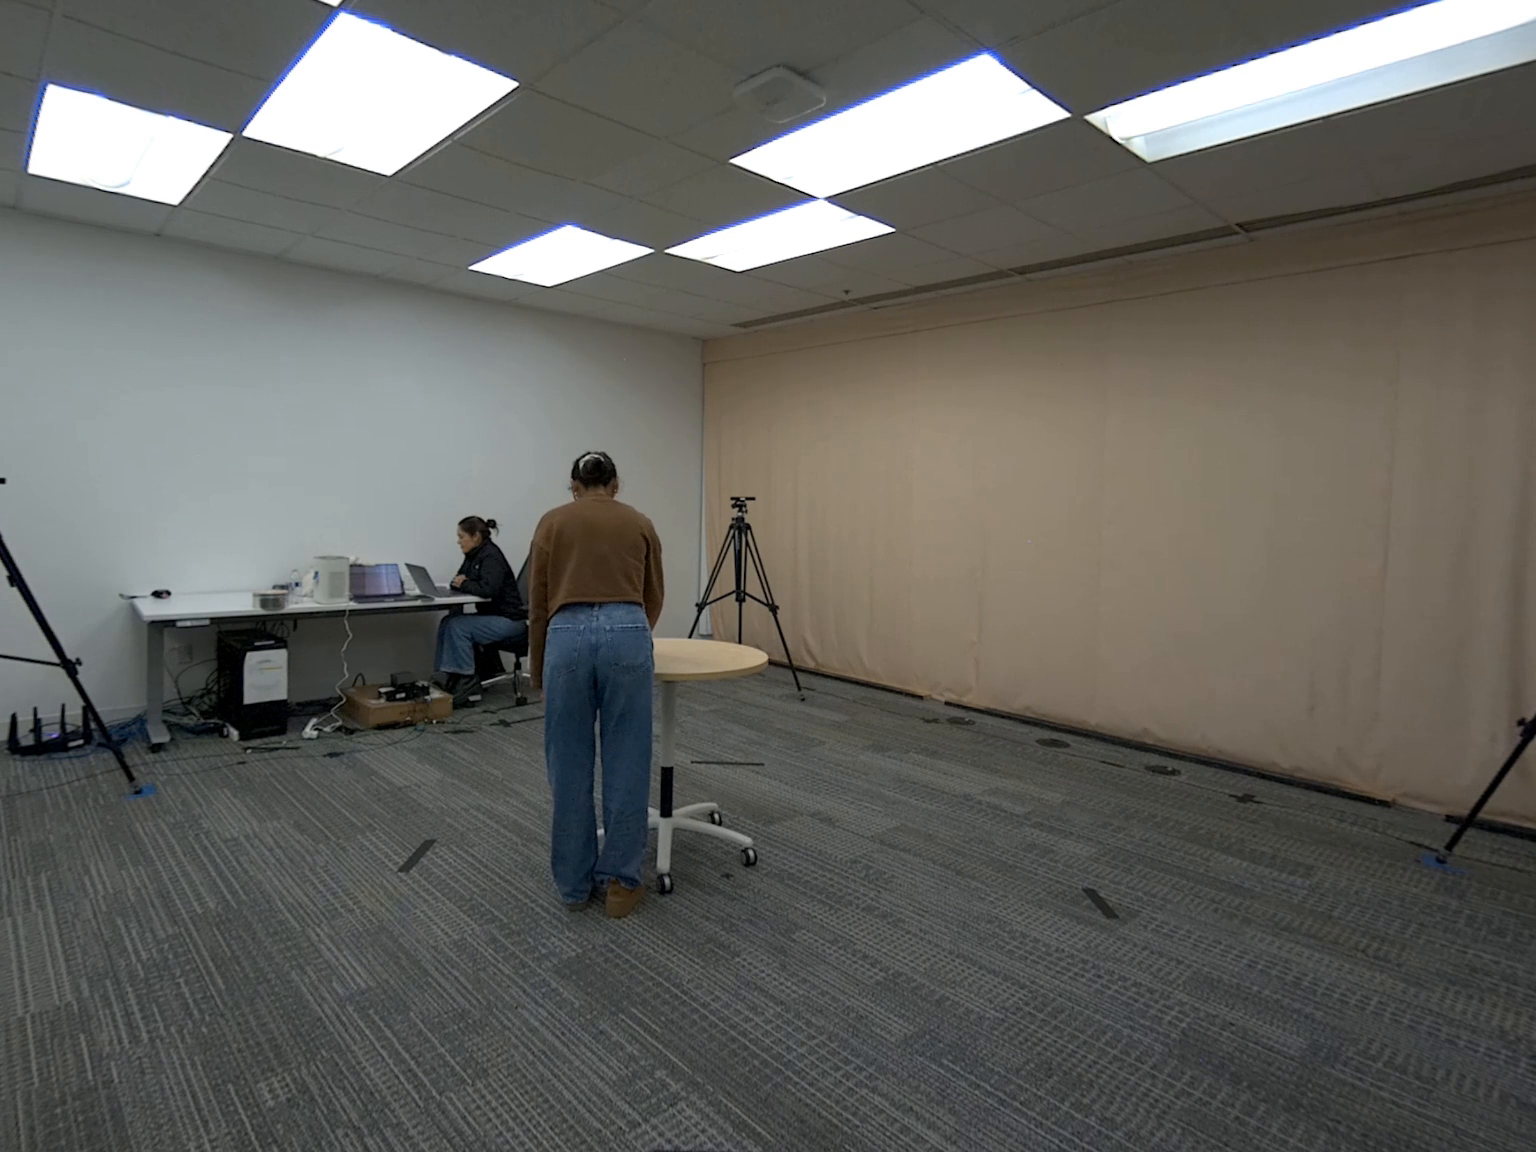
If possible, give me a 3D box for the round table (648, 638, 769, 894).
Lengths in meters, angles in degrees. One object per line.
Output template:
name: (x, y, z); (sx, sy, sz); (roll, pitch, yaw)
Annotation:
round table: (-0.399, 0.697, 3.294); (0.763, 0.792, 0.766); (1, 4, -1)
